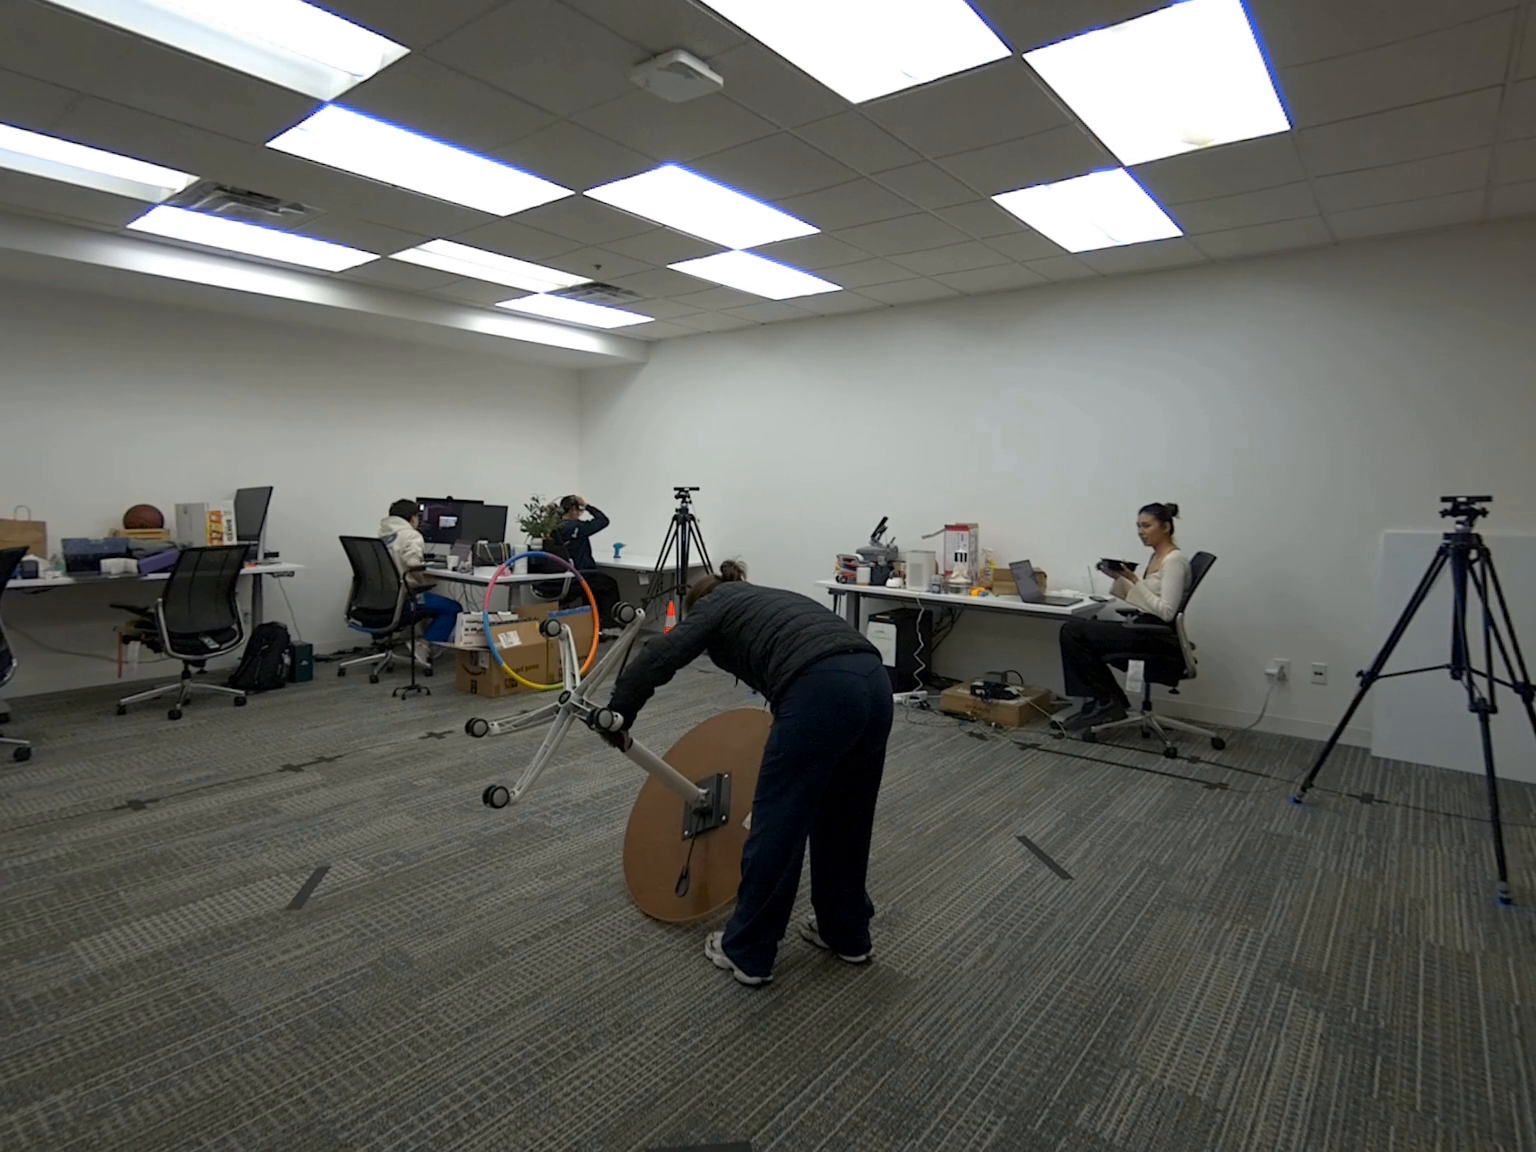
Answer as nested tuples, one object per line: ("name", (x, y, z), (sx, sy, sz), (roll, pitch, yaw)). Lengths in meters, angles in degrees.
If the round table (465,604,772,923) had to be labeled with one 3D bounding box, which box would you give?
("round table", (-0.422, 0.561, 2.730), (0.759, 0.787, 0.811), (44, -21, -29))
